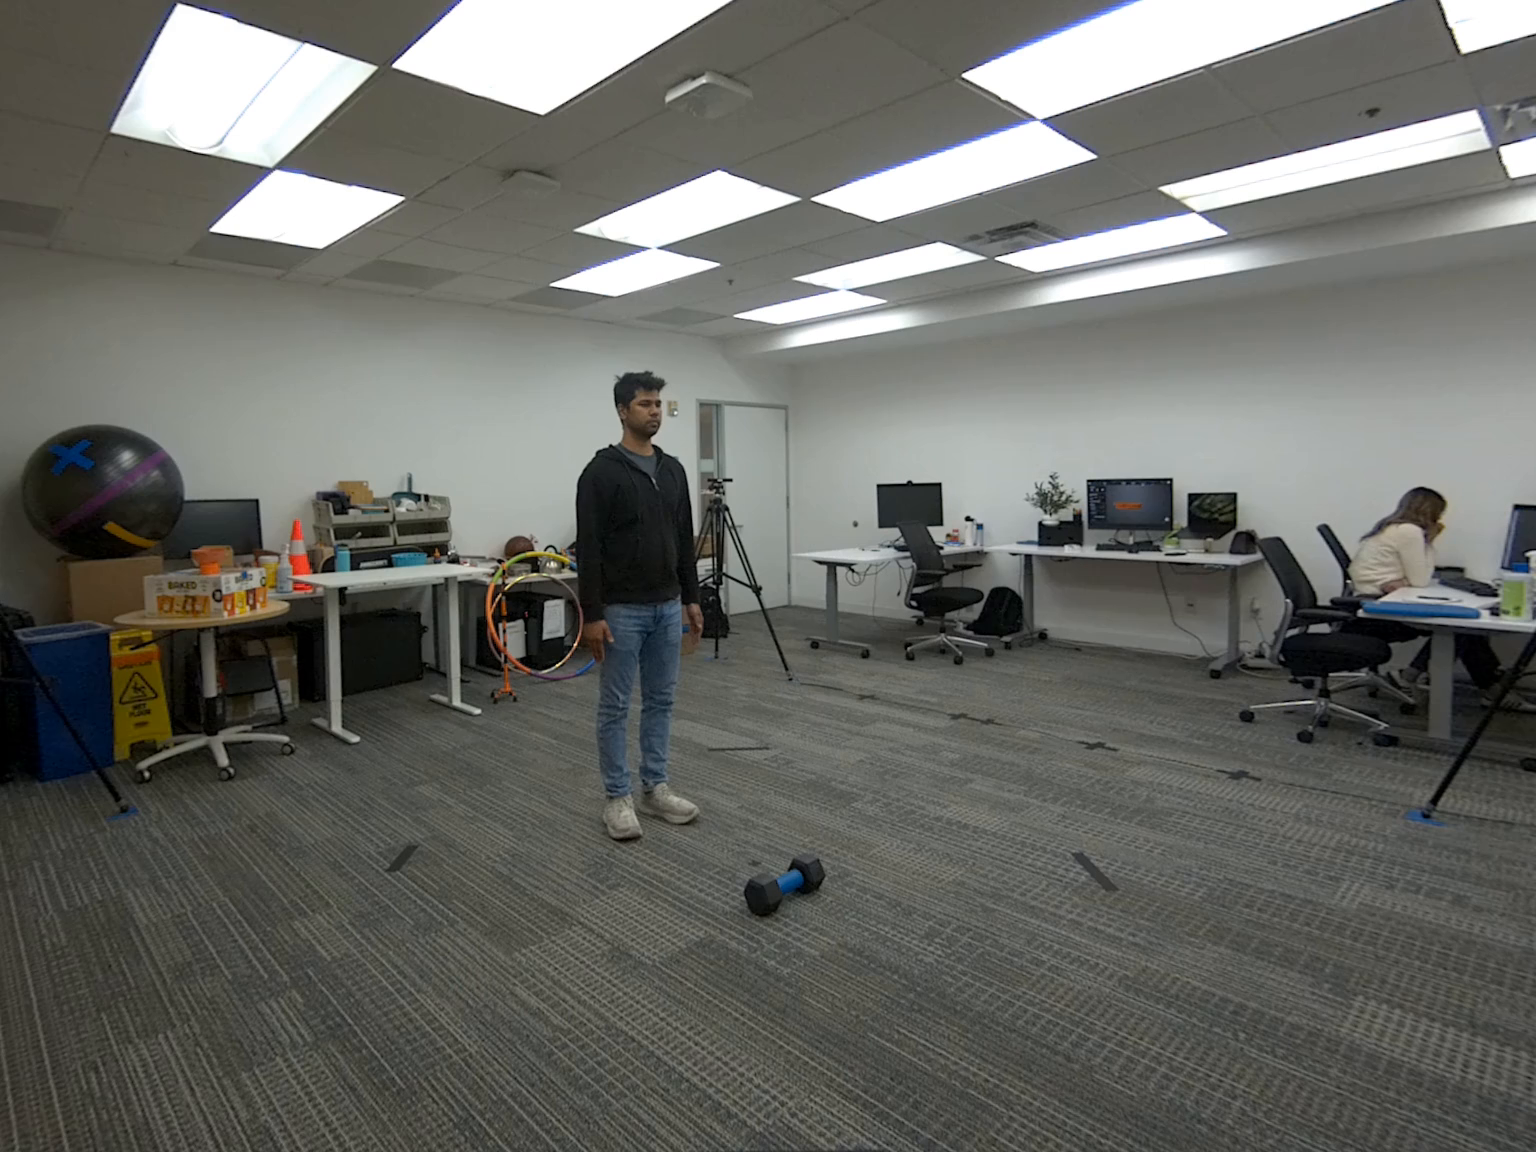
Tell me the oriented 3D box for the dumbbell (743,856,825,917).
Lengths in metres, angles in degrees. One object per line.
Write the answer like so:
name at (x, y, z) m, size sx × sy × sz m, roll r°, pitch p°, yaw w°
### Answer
dumbbell at (0.063, 1.019, 2.832) m, size 0.286 × 0.125 × 0.109 m, roll -7°, pitch -20°, yaw -45°
